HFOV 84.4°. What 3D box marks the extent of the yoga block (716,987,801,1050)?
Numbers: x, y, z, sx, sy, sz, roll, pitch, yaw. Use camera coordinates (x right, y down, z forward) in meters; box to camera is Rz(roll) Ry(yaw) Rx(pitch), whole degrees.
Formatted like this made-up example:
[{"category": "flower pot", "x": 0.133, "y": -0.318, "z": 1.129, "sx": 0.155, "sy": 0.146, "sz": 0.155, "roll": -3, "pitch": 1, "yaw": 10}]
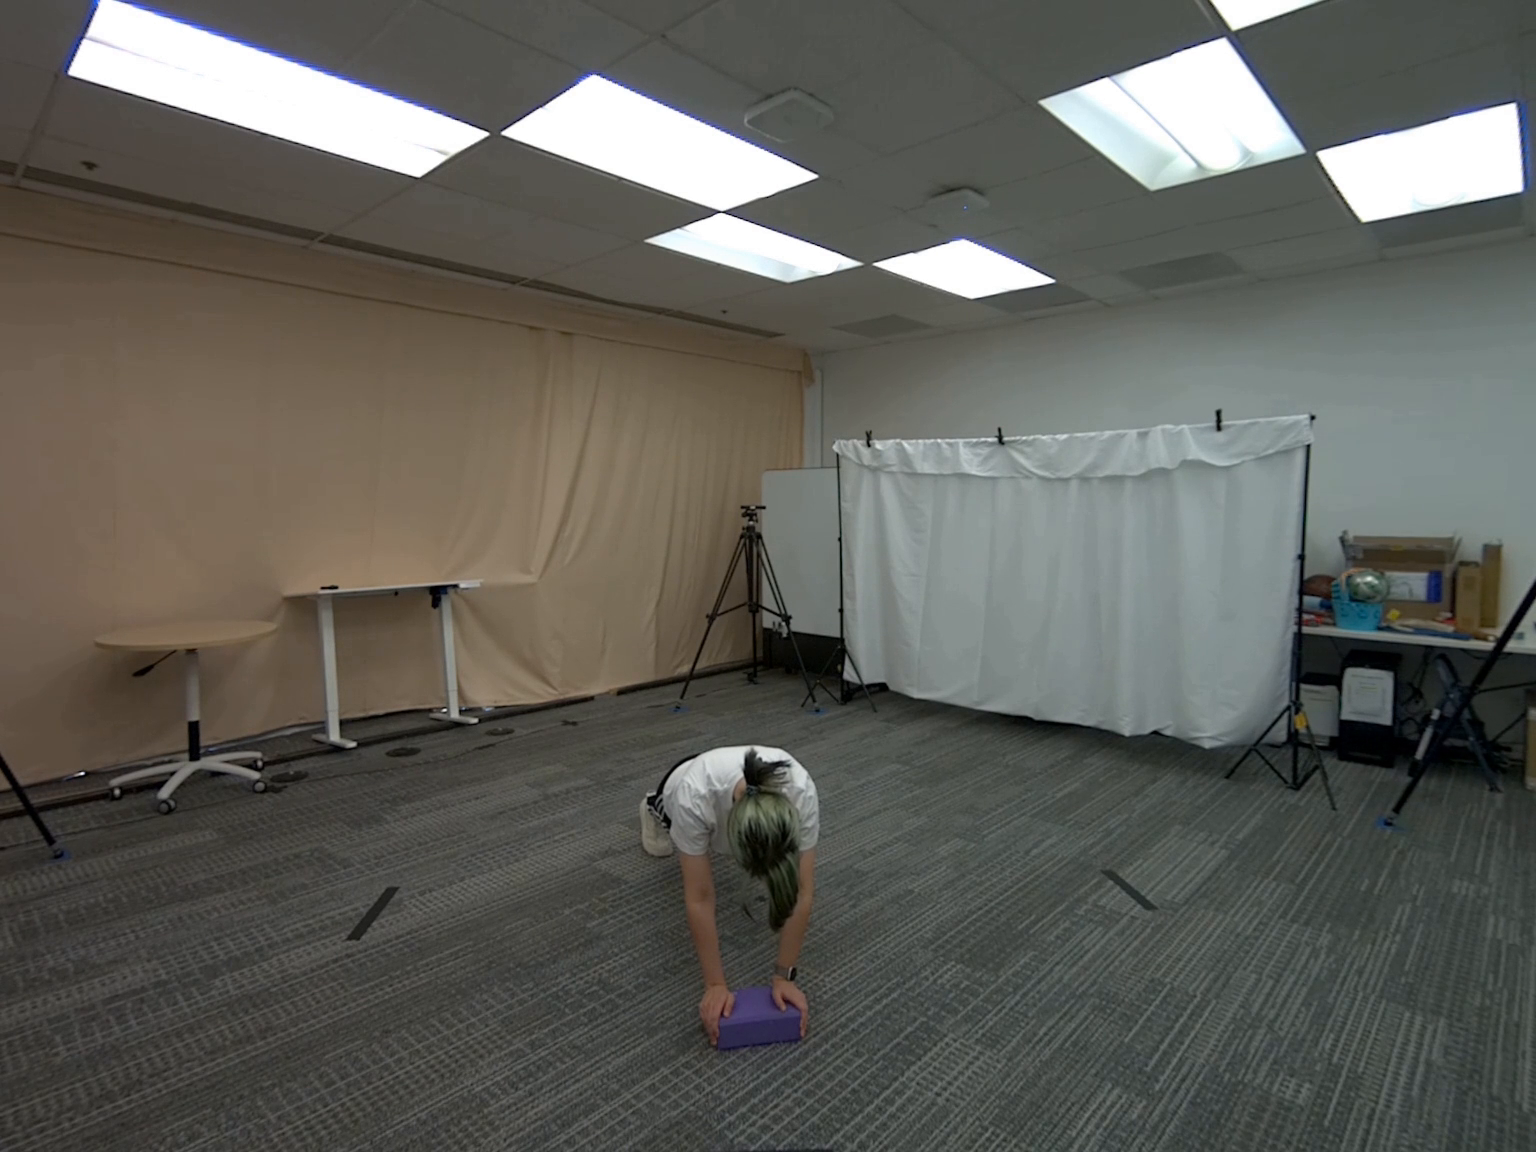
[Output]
[{"category": "yoga block", "x": -0.040, "y": 1.168, "z": 2.242, "sx": 0.227, "sy": 0.076, "sz": 0.151, "roll": 1, "pitch": 5, "yaw": -10}]
